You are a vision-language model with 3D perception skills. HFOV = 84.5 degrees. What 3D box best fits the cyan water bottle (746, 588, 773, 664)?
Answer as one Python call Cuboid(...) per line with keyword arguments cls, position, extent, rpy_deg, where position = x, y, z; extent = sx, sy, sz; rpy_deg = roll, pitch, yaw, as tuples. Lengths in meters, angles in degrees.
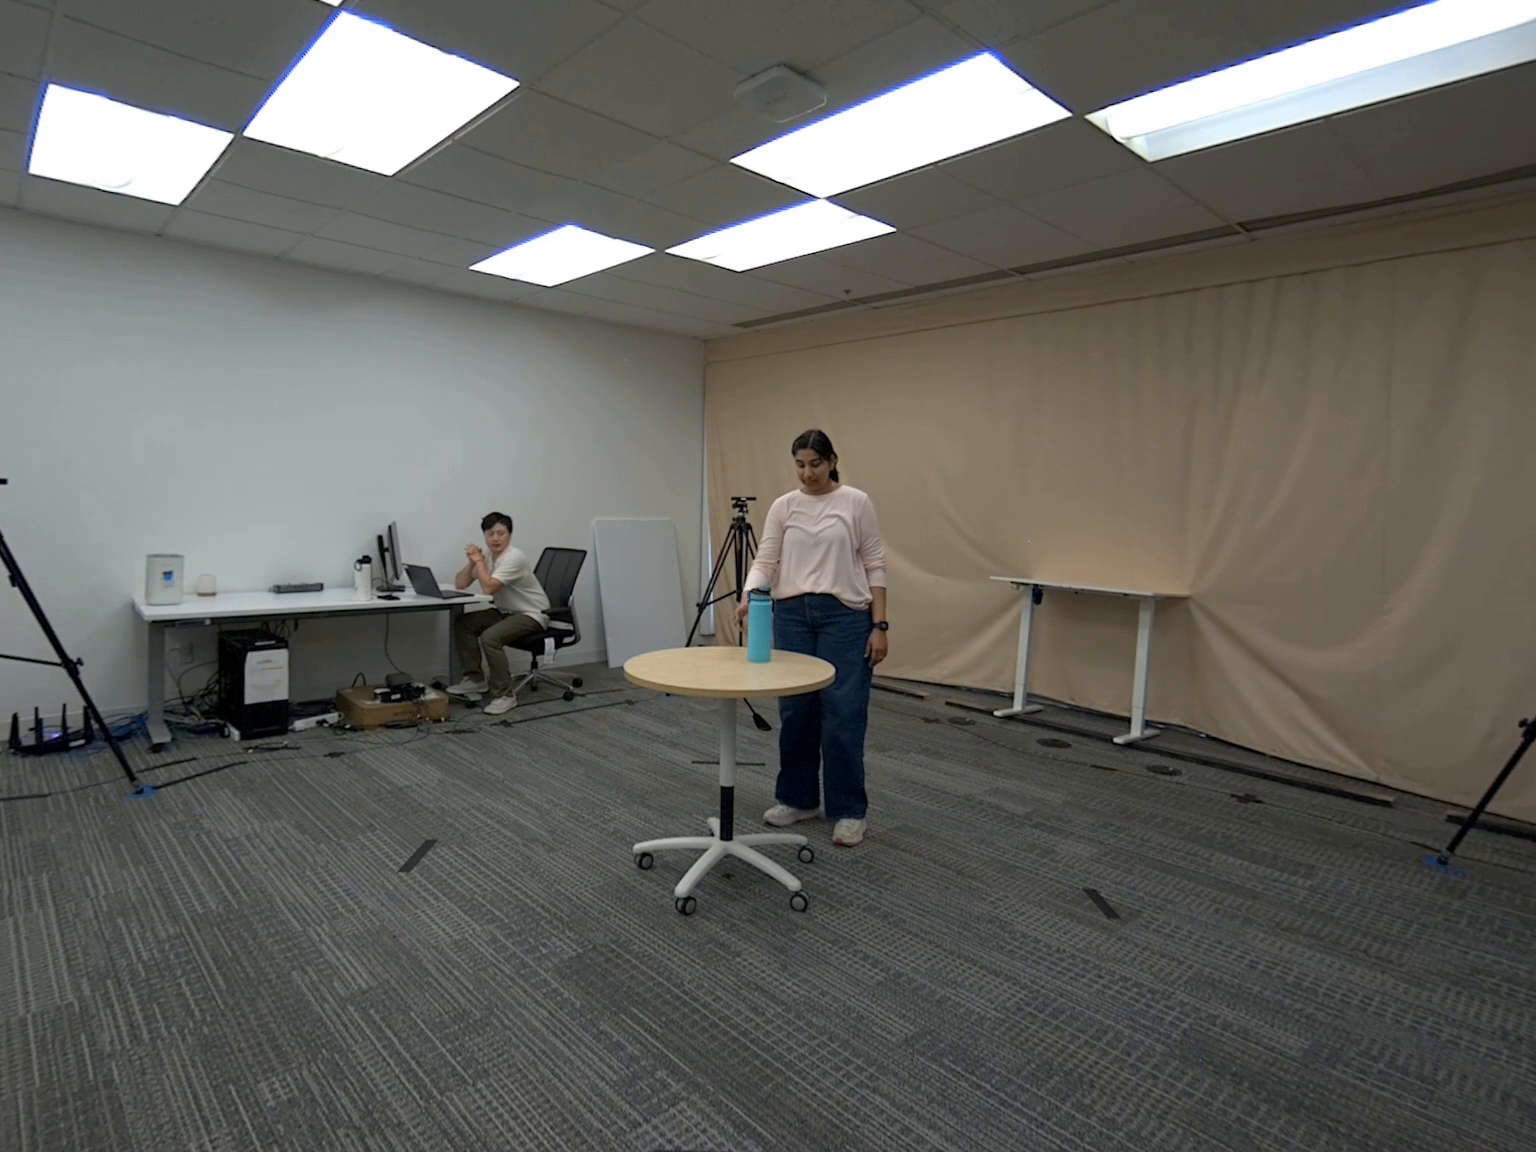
Cuboid(cls="cyan water bottle", position=(-0.043, 0.179, 3.161), extent=(0.092, 0.282, 0.093), rpy_deg=(1, 4, -1))
